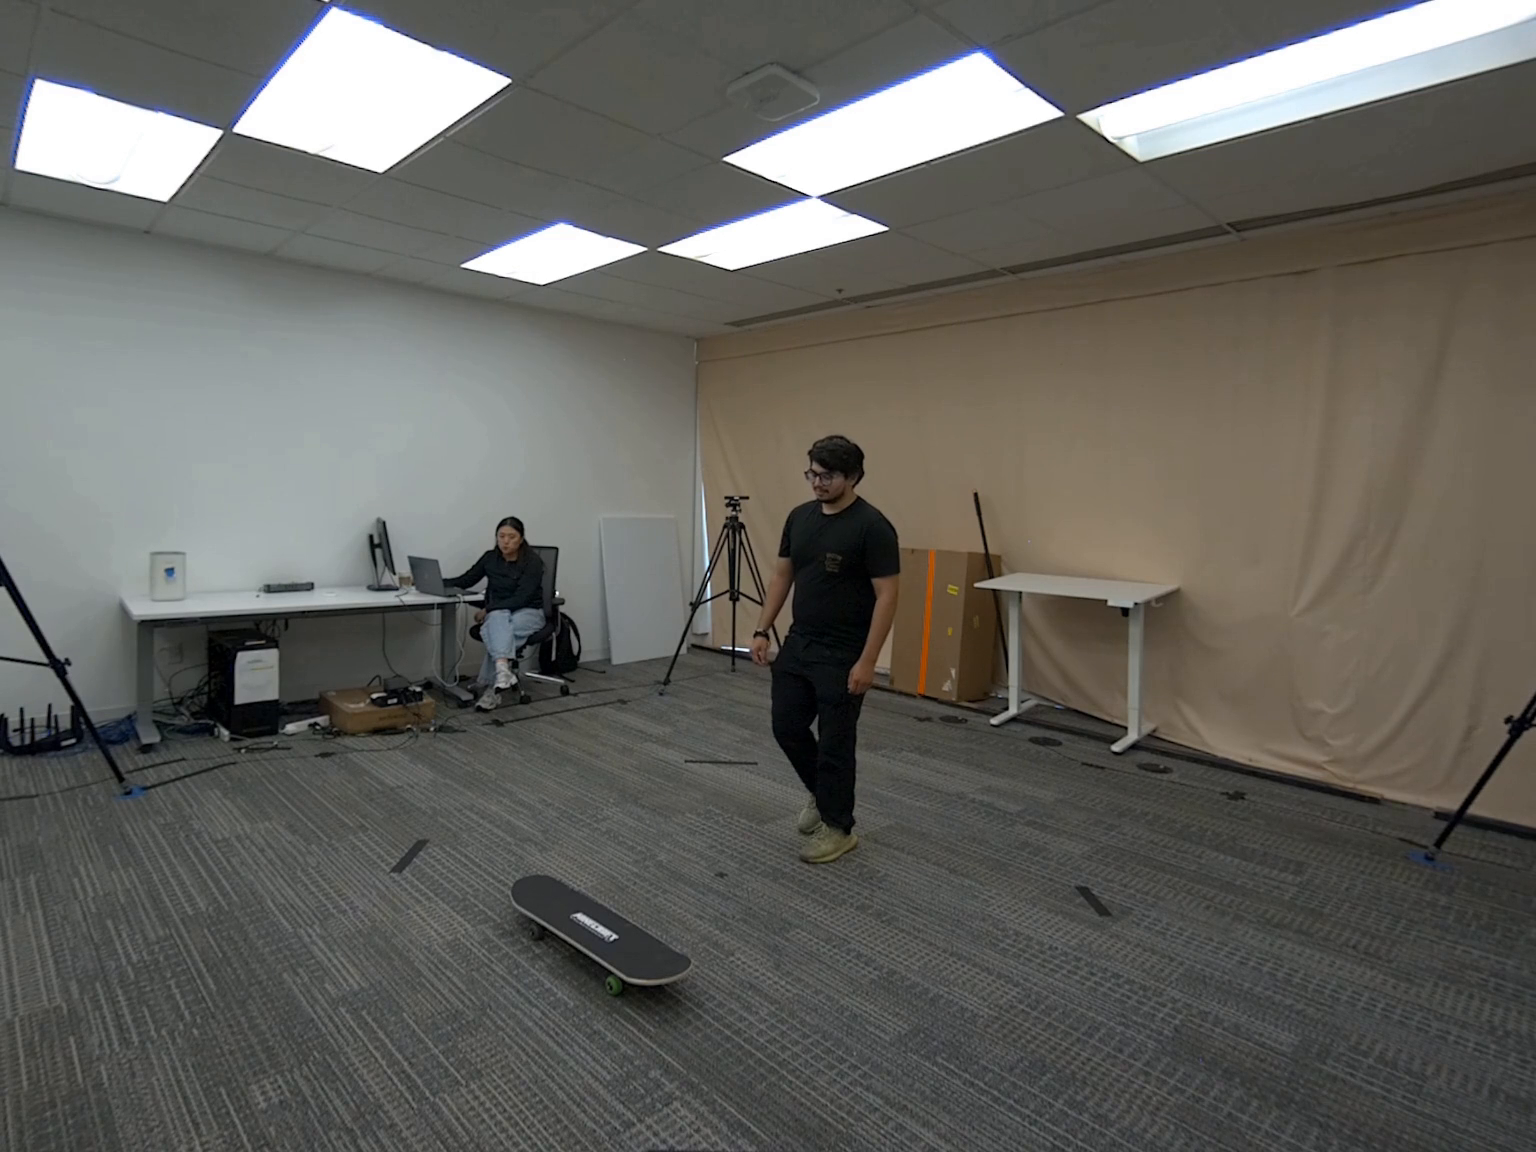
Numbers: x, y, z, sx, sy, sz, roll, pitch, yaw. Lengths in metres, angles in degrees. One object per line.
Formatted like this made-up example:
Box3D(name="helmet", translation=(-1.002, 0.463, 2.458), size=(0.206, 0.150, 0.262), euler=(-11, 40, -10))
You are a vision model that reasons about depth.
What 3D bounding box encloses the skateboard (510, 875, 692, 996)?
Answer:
Box3D(name="skateboard", translation=(-0.536, 1.097, 2.536), size=(0.806, 0.110, 0.189), euler=(6, 8, 43))
